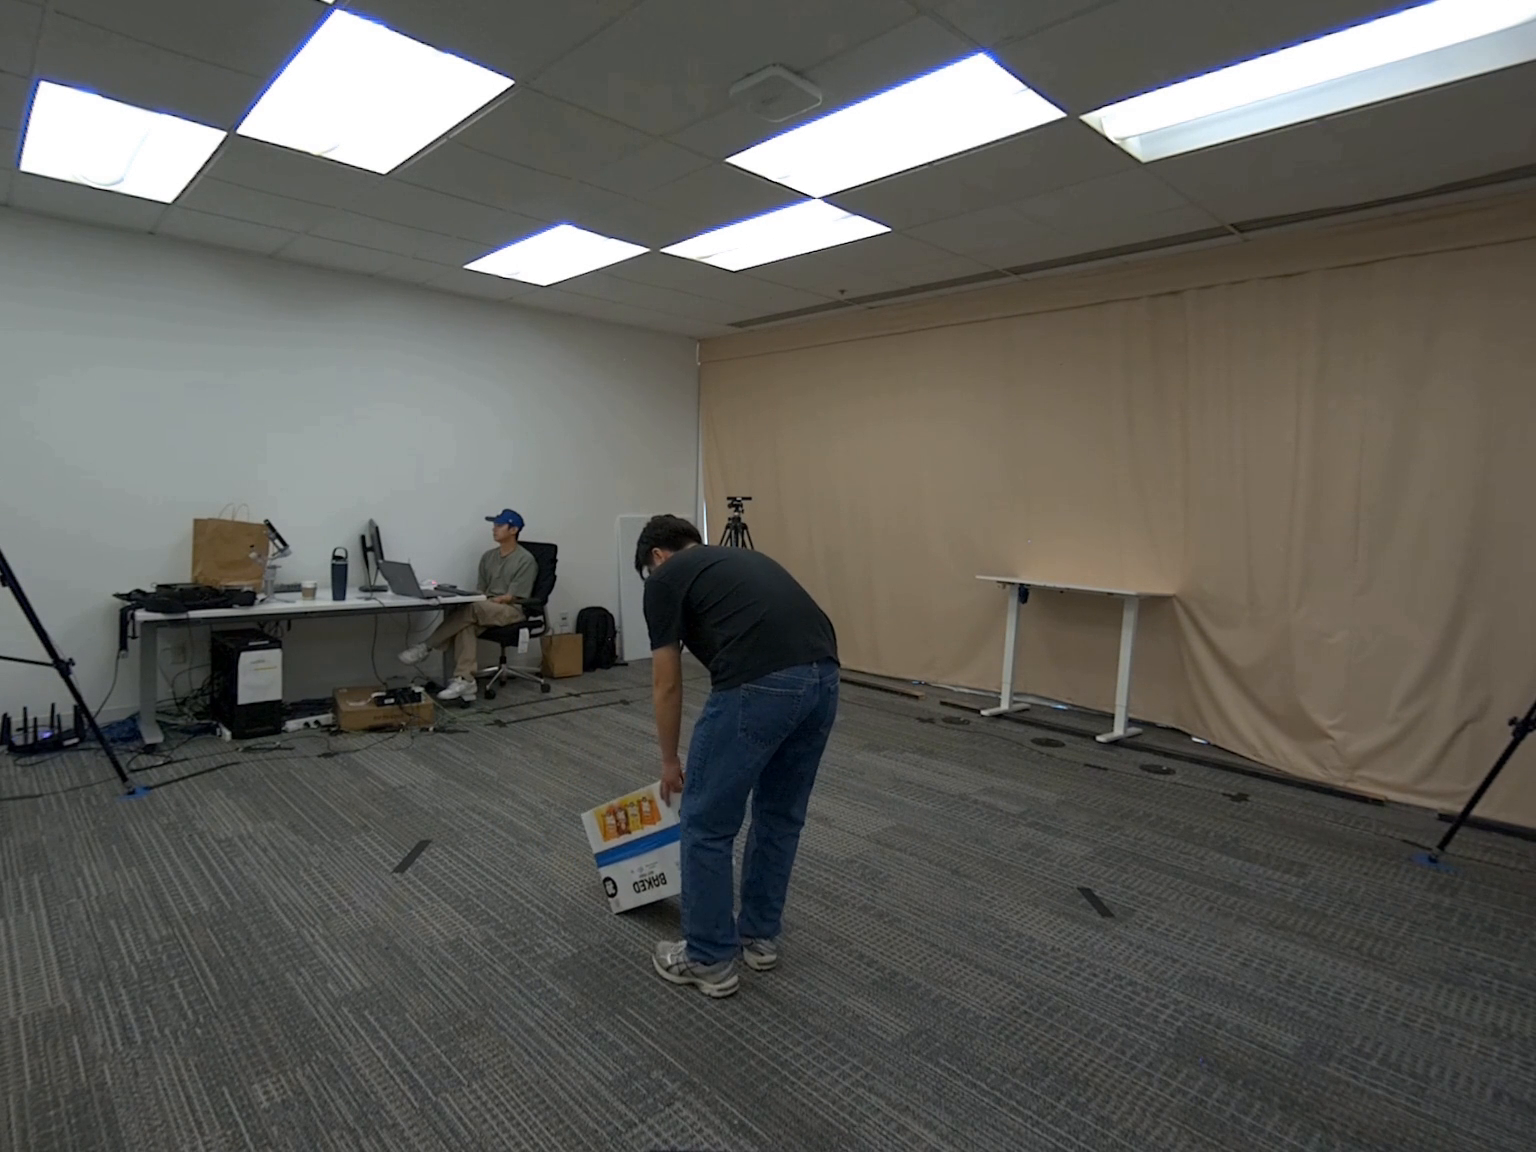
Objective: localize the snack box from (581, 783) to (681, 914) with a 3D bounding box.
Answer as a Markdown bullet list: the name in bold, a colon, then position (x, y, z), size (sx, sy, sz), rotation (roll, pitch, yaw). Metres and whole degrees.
- **snack box**: position (-0.380, 0.884, 2.818), size (0.408, 0.345, 0.201), rotation (-29, -15, 30)
